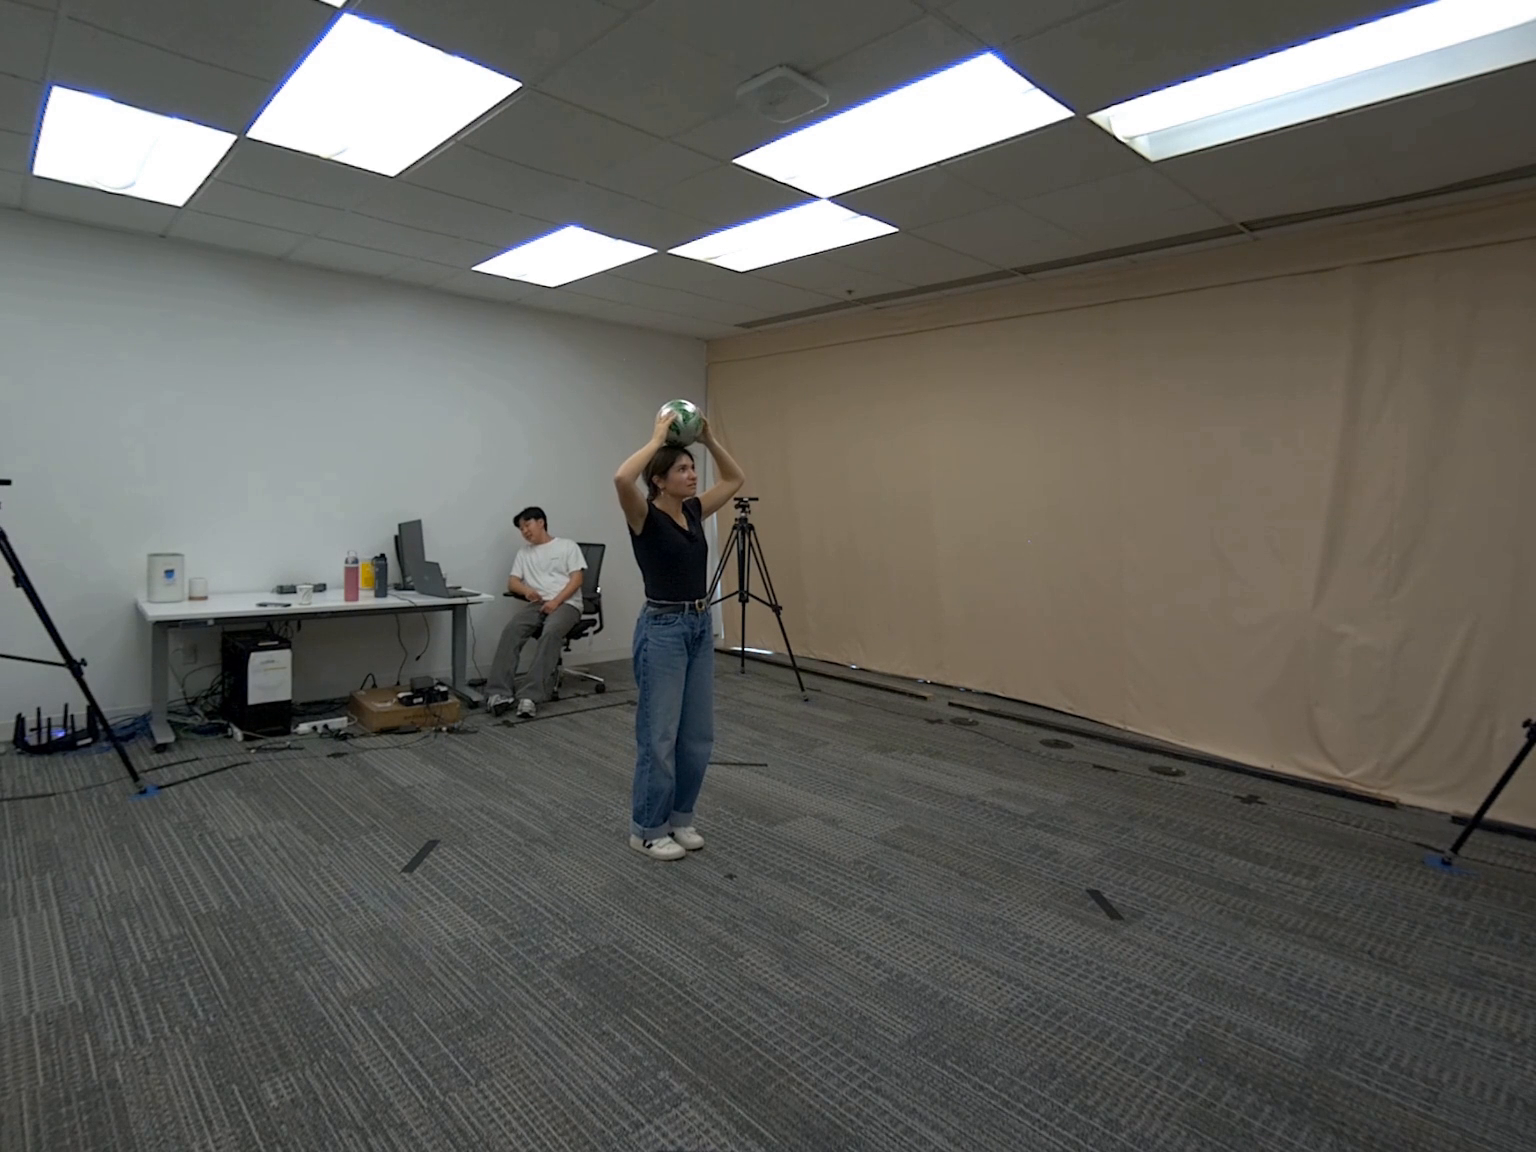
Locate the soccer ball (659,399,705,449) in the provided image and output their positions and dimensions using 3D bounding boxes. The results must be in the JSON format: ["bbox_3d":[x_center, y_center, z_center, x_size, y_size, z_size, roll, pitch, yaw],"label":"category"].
[{"bbox_3d":[-0.359,-0.594,3.289,0.187,0.187,0.188,1,4,-1],"label":"soccer ball"}]
